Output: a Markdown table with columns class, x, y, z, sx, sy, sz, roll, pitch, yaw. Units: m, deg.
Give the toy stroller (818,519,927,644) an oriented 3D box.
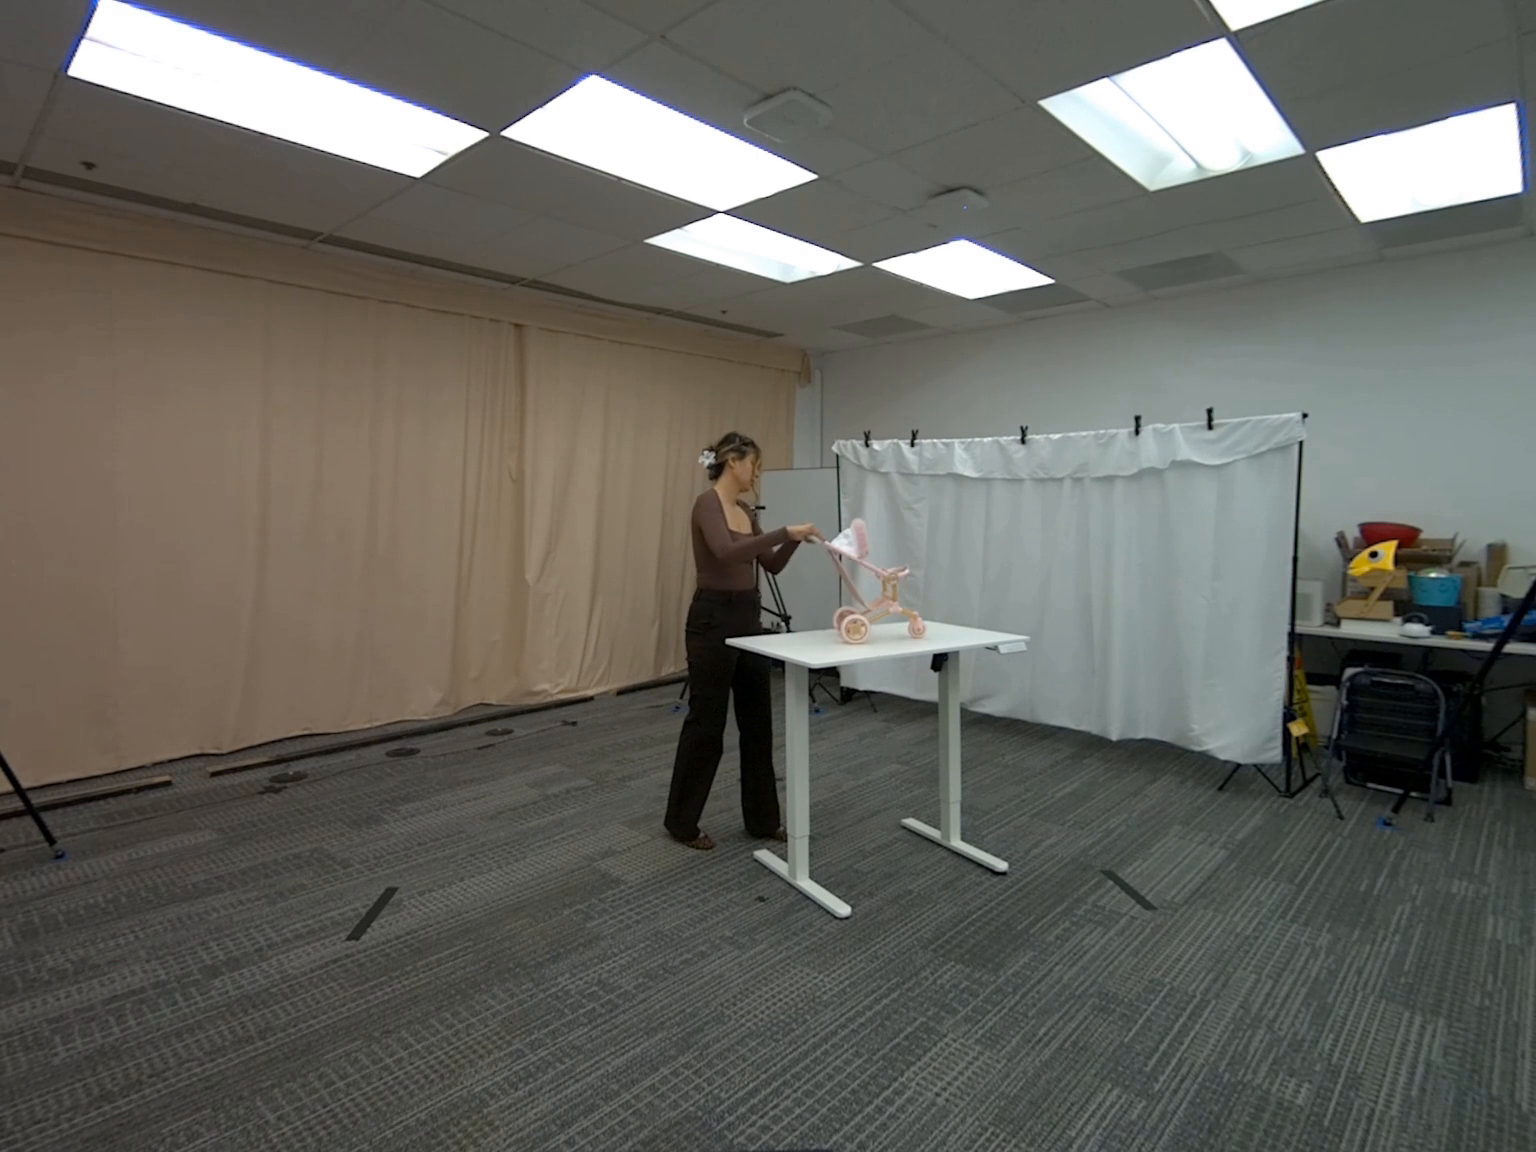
| class | x | y | z | sx | sy | sz | roll | pitch | yaw |
| --- | --- | --- | --- | --- | --- | --- | --- | --- | --- |
| toy stroller | 0.386 | 0.025 | 3.206 | 0.343 | 0.534 | 0.281 | -15 | 3 | 5 |
